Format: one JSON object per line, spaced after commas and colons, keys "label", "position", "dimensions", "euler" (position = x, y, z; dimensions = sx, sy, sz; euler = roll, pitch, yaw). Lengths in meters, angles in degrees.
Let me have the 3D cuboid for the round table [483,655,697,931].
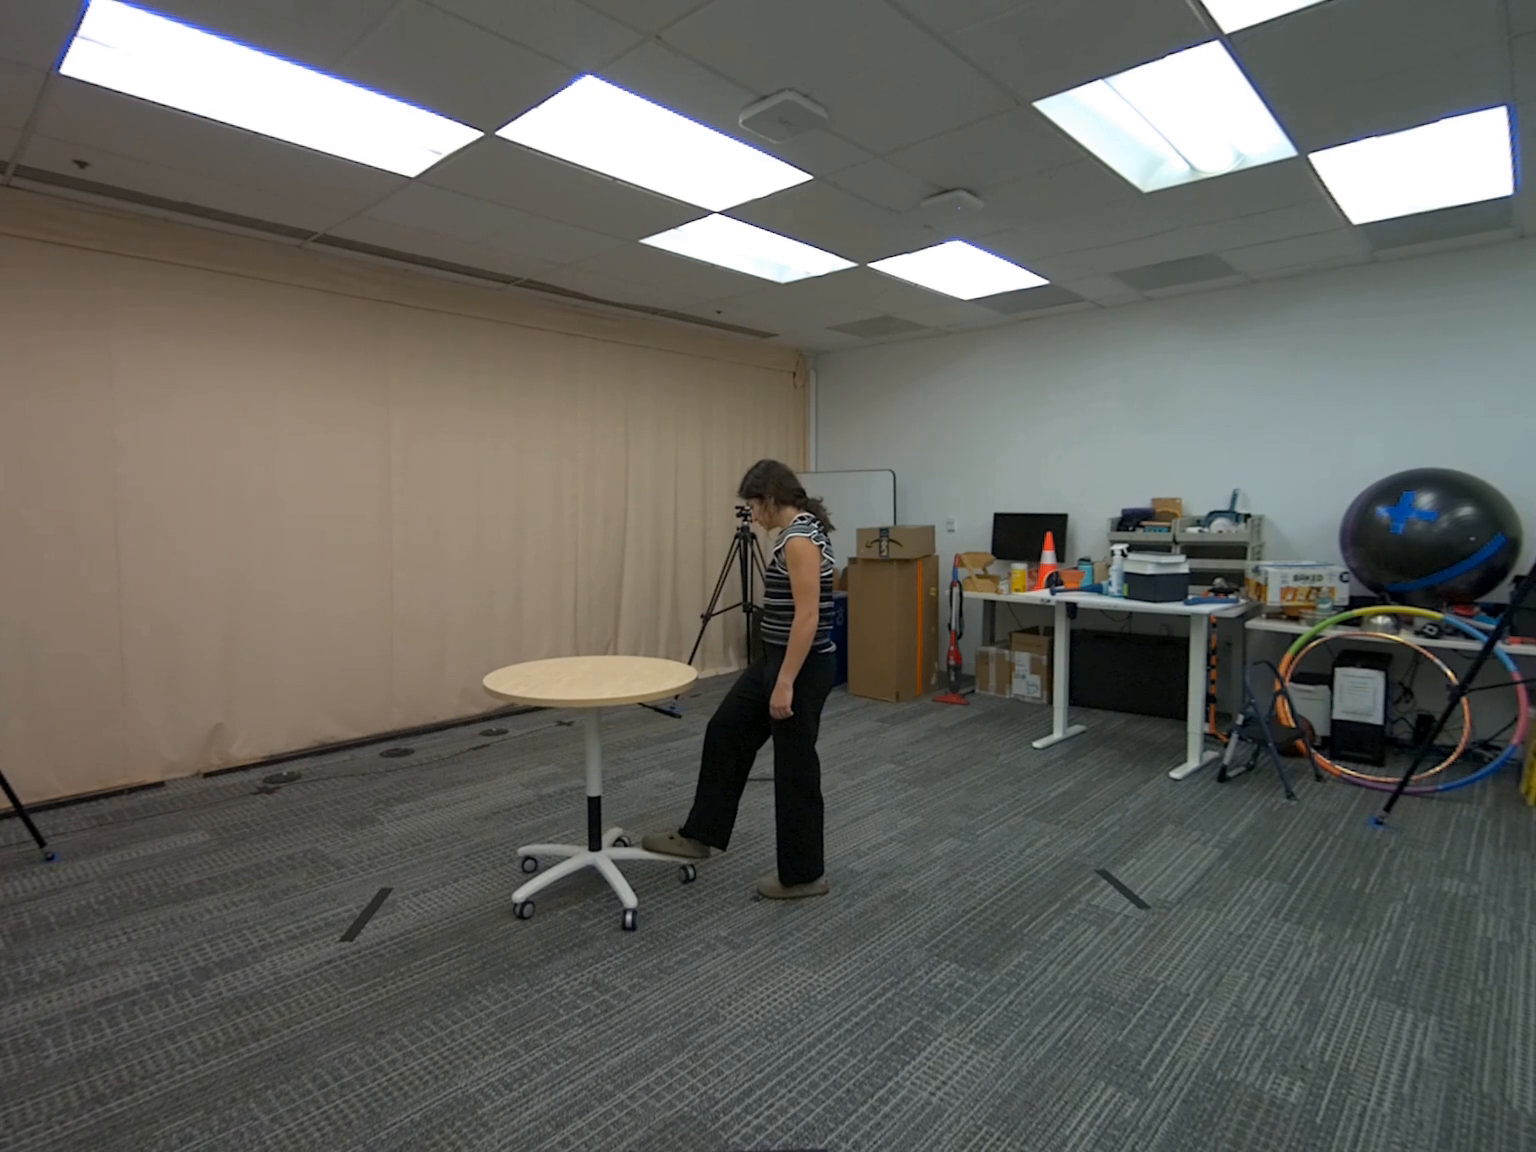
{"label": "round table", "position": [-0.638, 0.750, 3.078], "dimensions": [0.784, 0.785, 0.788], "euler": [0, 4, -2]}
